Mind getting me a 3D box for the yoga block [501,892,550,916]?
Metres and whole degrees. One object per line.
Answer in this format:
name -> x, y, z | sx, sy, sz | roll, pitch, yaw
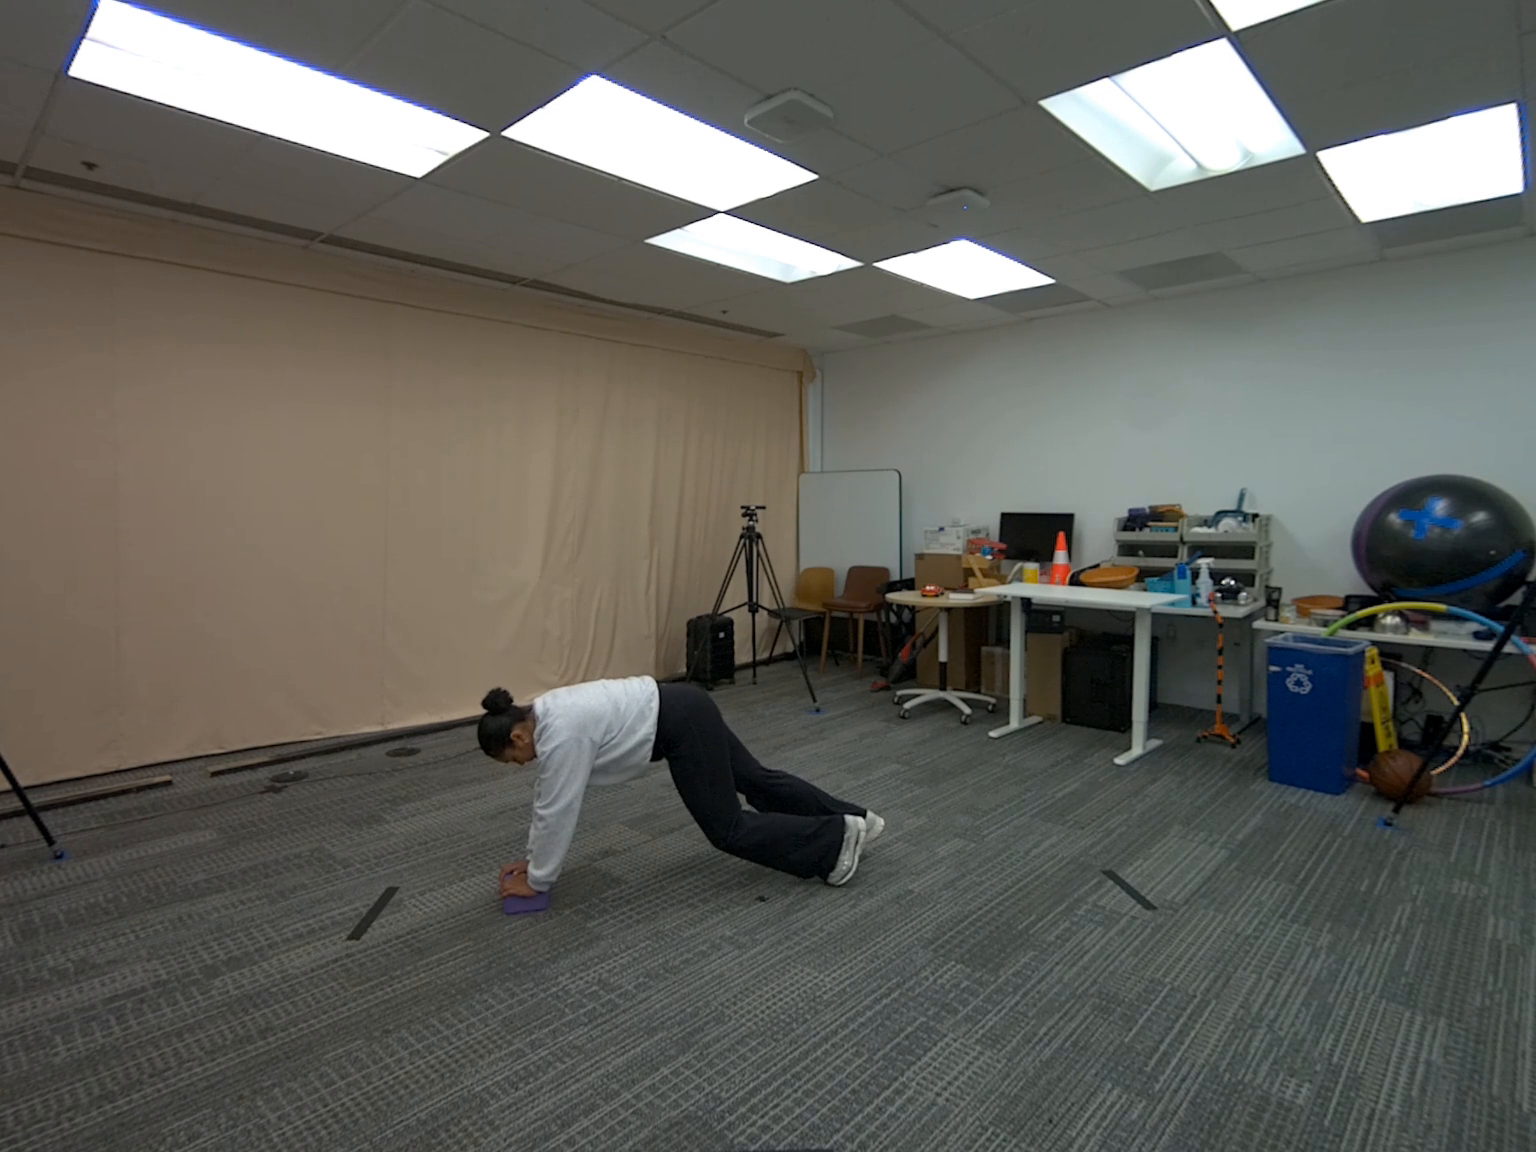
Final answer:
yoga block -> -0.866, 1.121, 2.998 | 0.146, 0.076, 0.234 | -1, 5, -16
